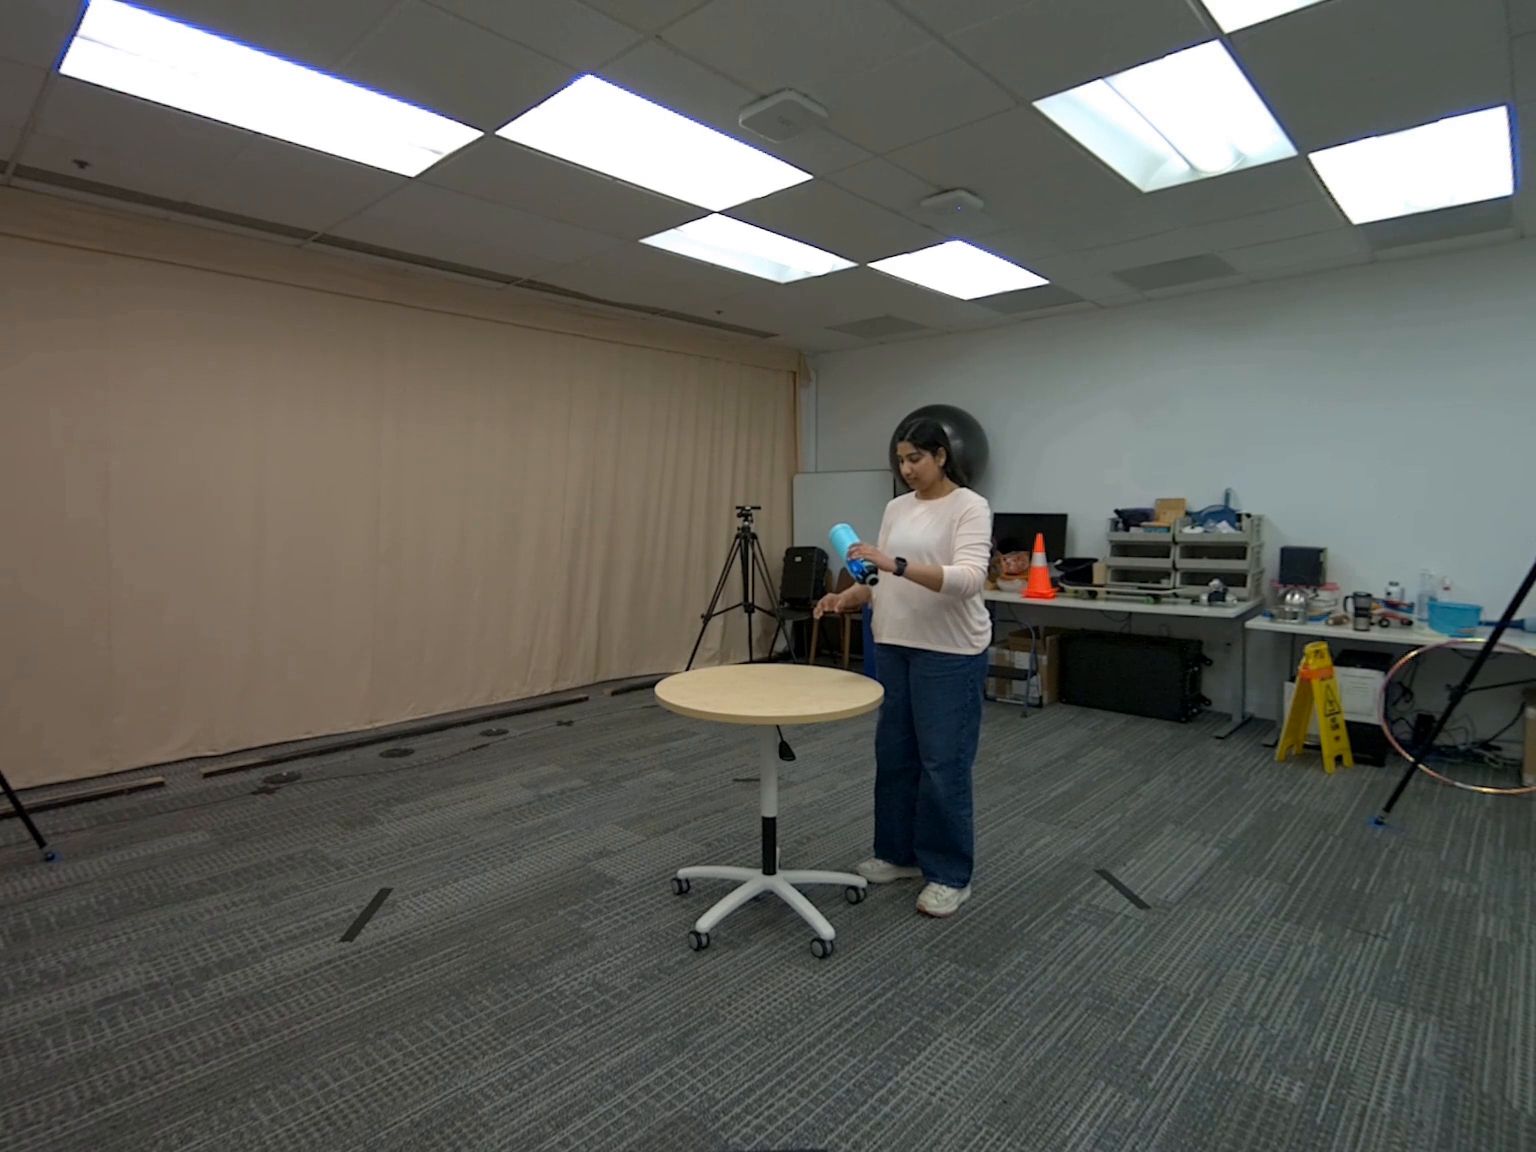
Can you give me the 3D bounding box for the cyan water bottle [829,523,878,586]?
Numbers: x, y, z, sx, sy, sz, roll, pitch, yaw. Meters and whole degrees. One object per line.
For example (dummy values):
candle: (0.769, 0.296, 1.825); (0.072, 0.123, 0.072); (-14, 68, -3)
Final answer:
cyan water bottle: (0.296, -0.065, 2.790); (0.091, 0.091, 0.291); (-1, 34, -15)
